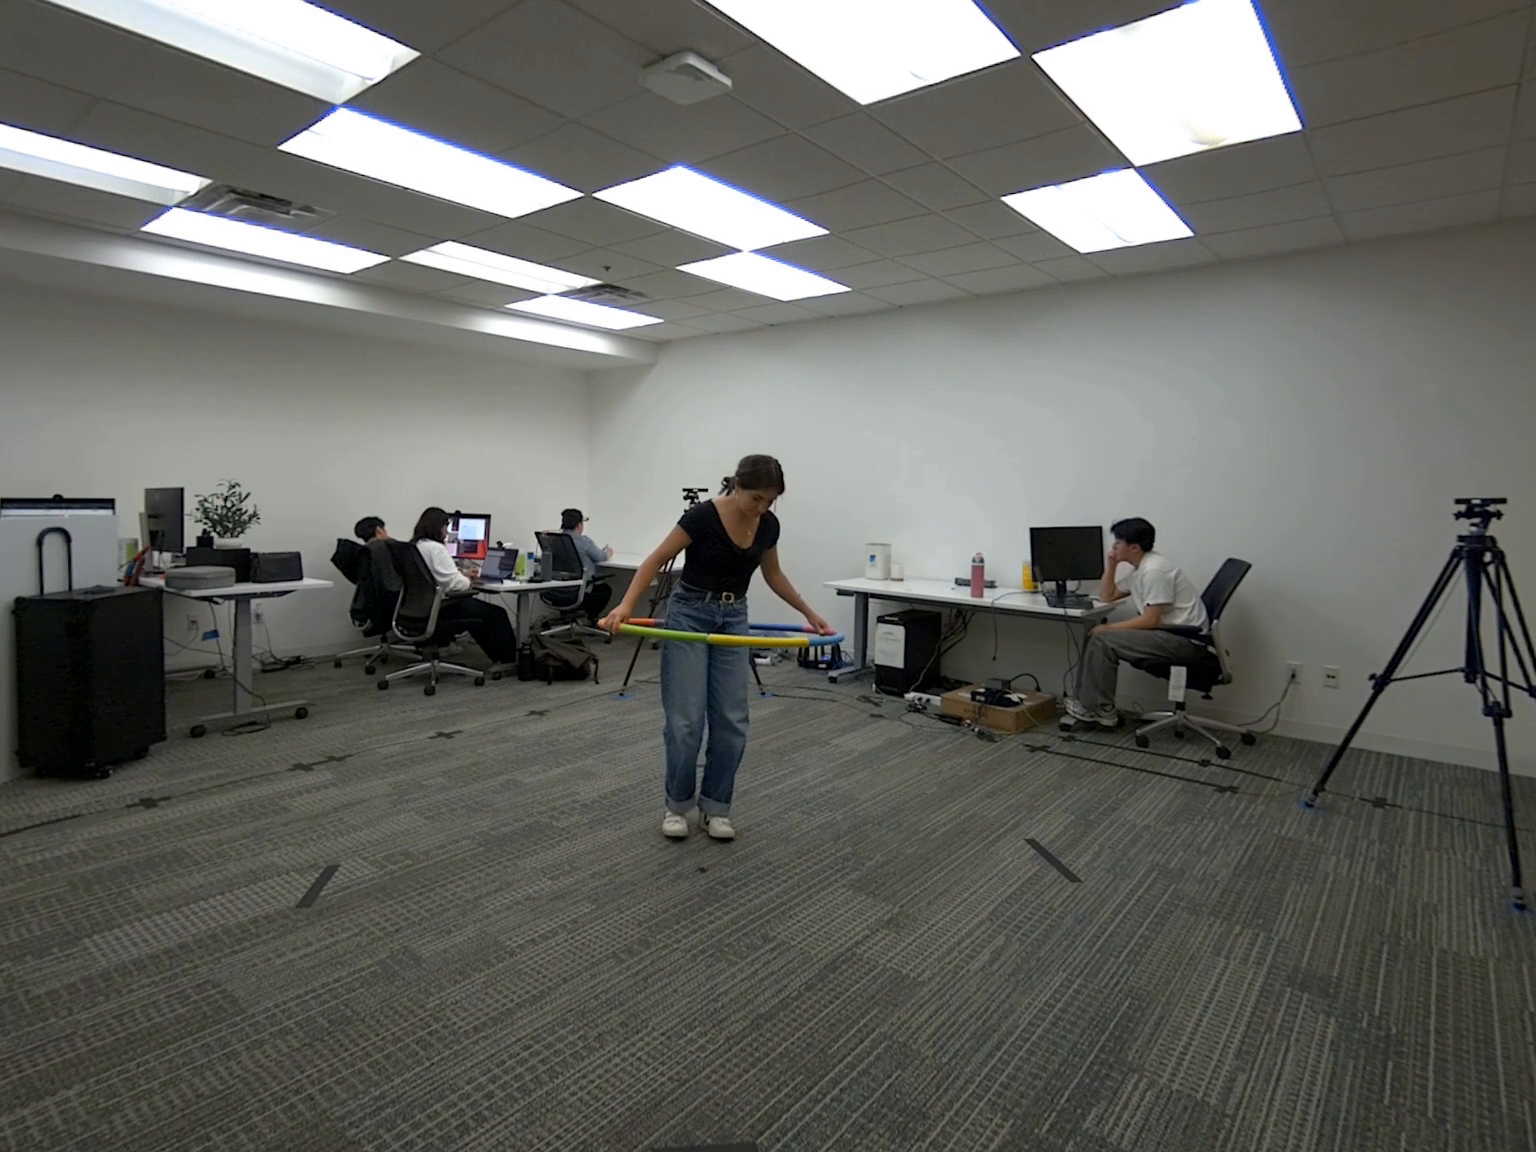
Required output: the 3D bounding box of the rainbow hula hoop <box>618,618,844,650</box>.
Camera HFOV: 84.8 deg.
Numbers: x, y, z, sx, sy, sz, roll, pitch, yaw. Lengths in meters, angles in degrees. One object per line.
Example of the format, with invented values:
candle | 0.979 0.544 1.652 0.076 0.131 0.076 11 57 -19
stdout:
rainbow hula hoop | -0.190 0.212 3.438 0.978 0.035 0.978 4 0 -2
